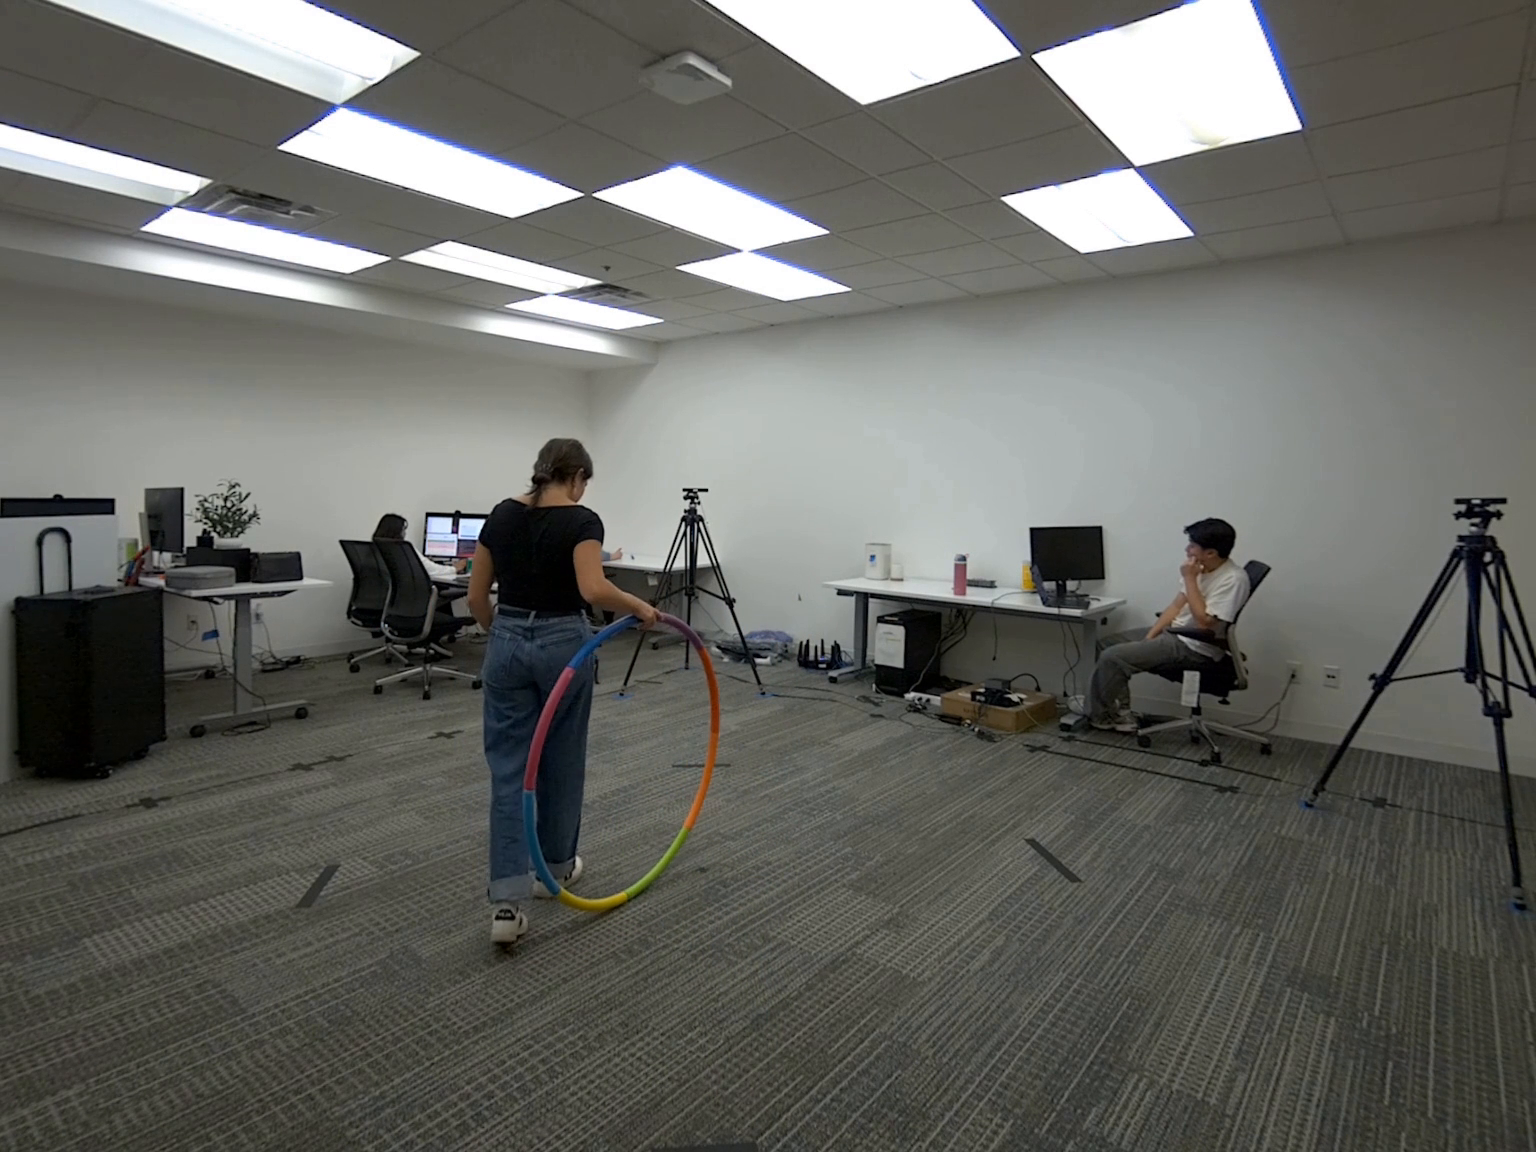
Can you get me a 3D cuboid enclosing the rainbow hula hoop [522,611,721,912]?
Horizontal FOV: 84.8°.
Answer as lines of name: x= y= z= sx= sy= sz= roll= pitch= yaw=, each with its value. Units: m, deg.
rainbow hula hoop: x=-0.440 y=0.599 z=2.851 sx=0.036 sy=0.975 sz=0.953 roll=4 pitch=5 yaw=31
